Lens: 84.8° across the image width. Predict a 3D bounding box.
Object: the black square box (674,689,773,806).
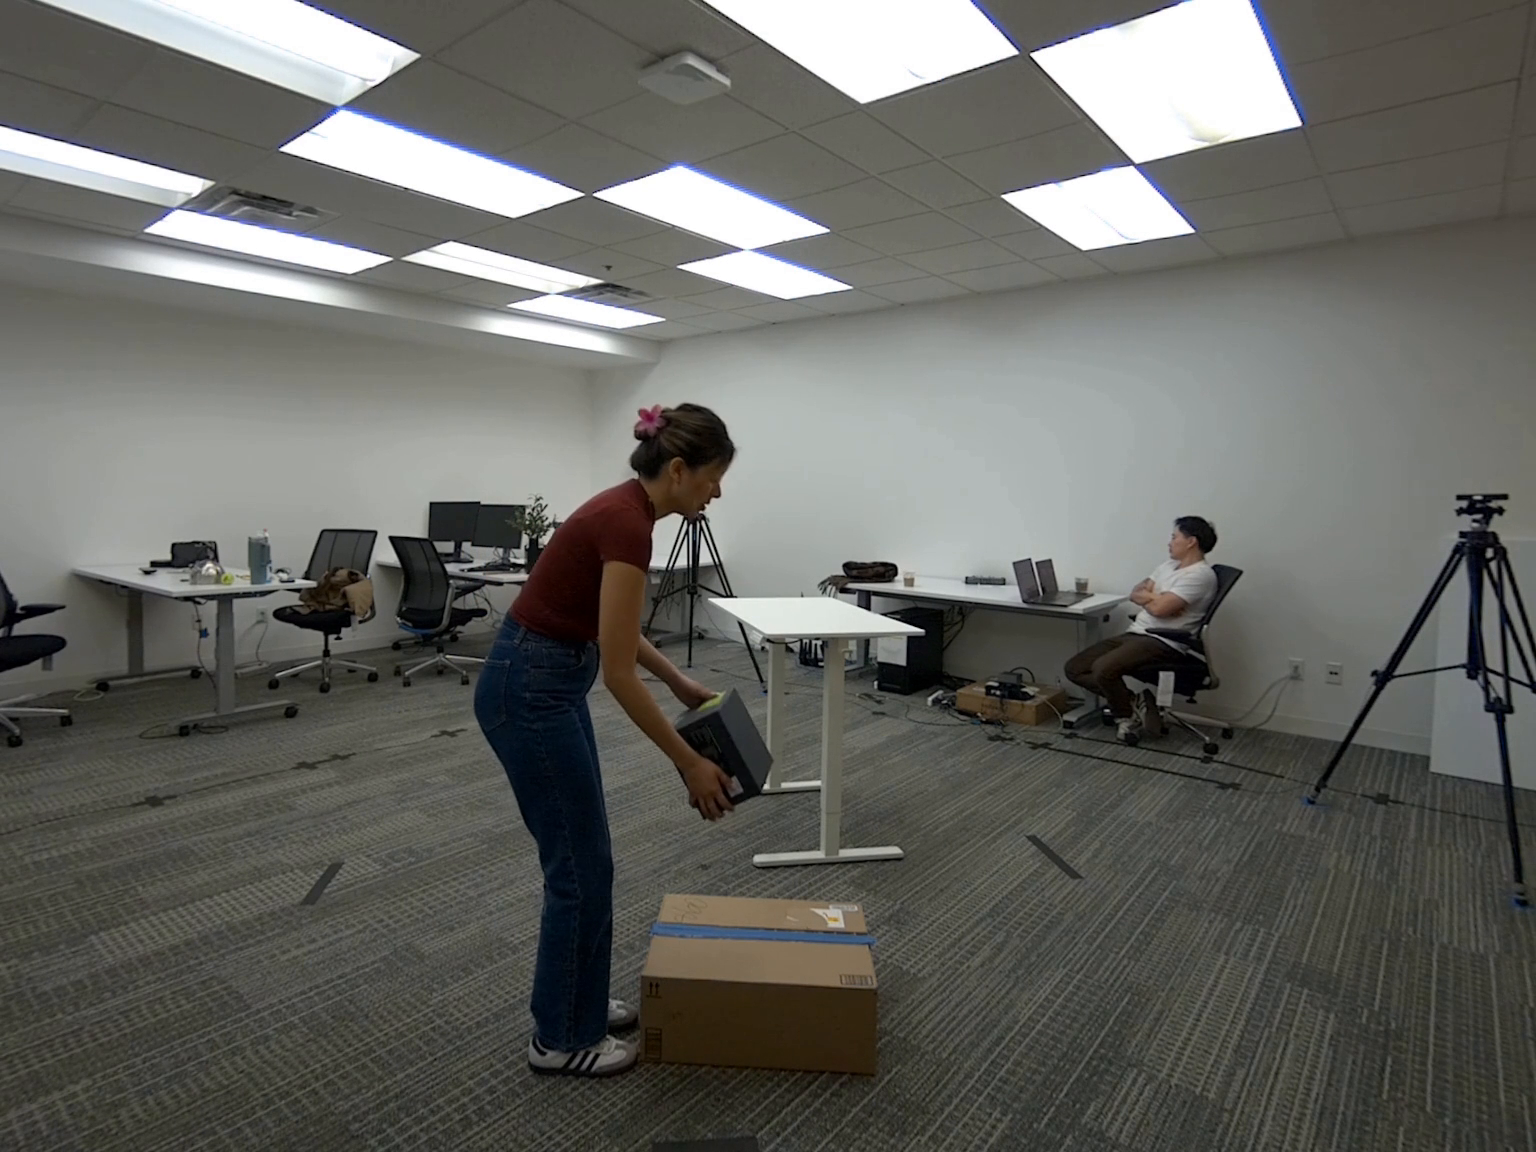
[{"bbox_3d":[-0.126,0.417,2.056,0.157,0.217,0.226,-24,1,12],"label":"black square box"}]
